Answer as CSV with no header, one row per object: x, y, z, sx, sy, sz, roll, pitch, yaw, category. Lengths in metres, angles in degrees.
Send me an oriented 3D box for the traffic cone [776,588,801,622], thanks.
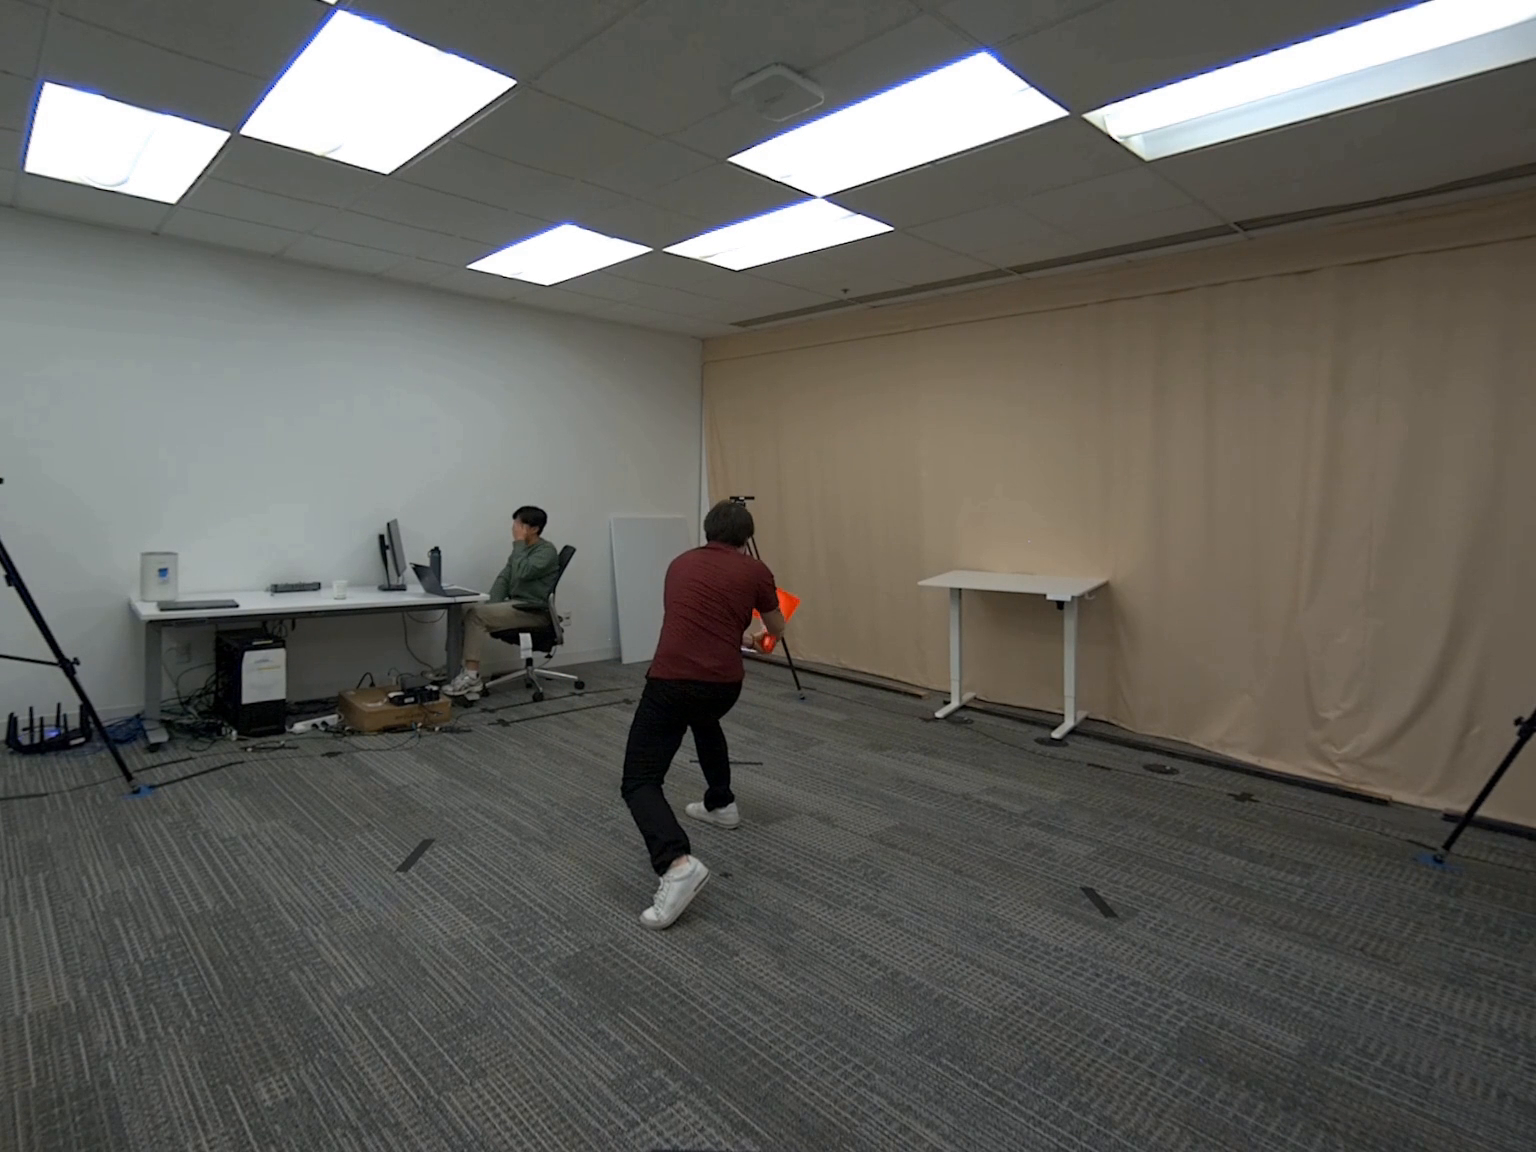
-0.003,0.231,3.891,0.204,0.202,0.388,24,26,-5,traffic cone
